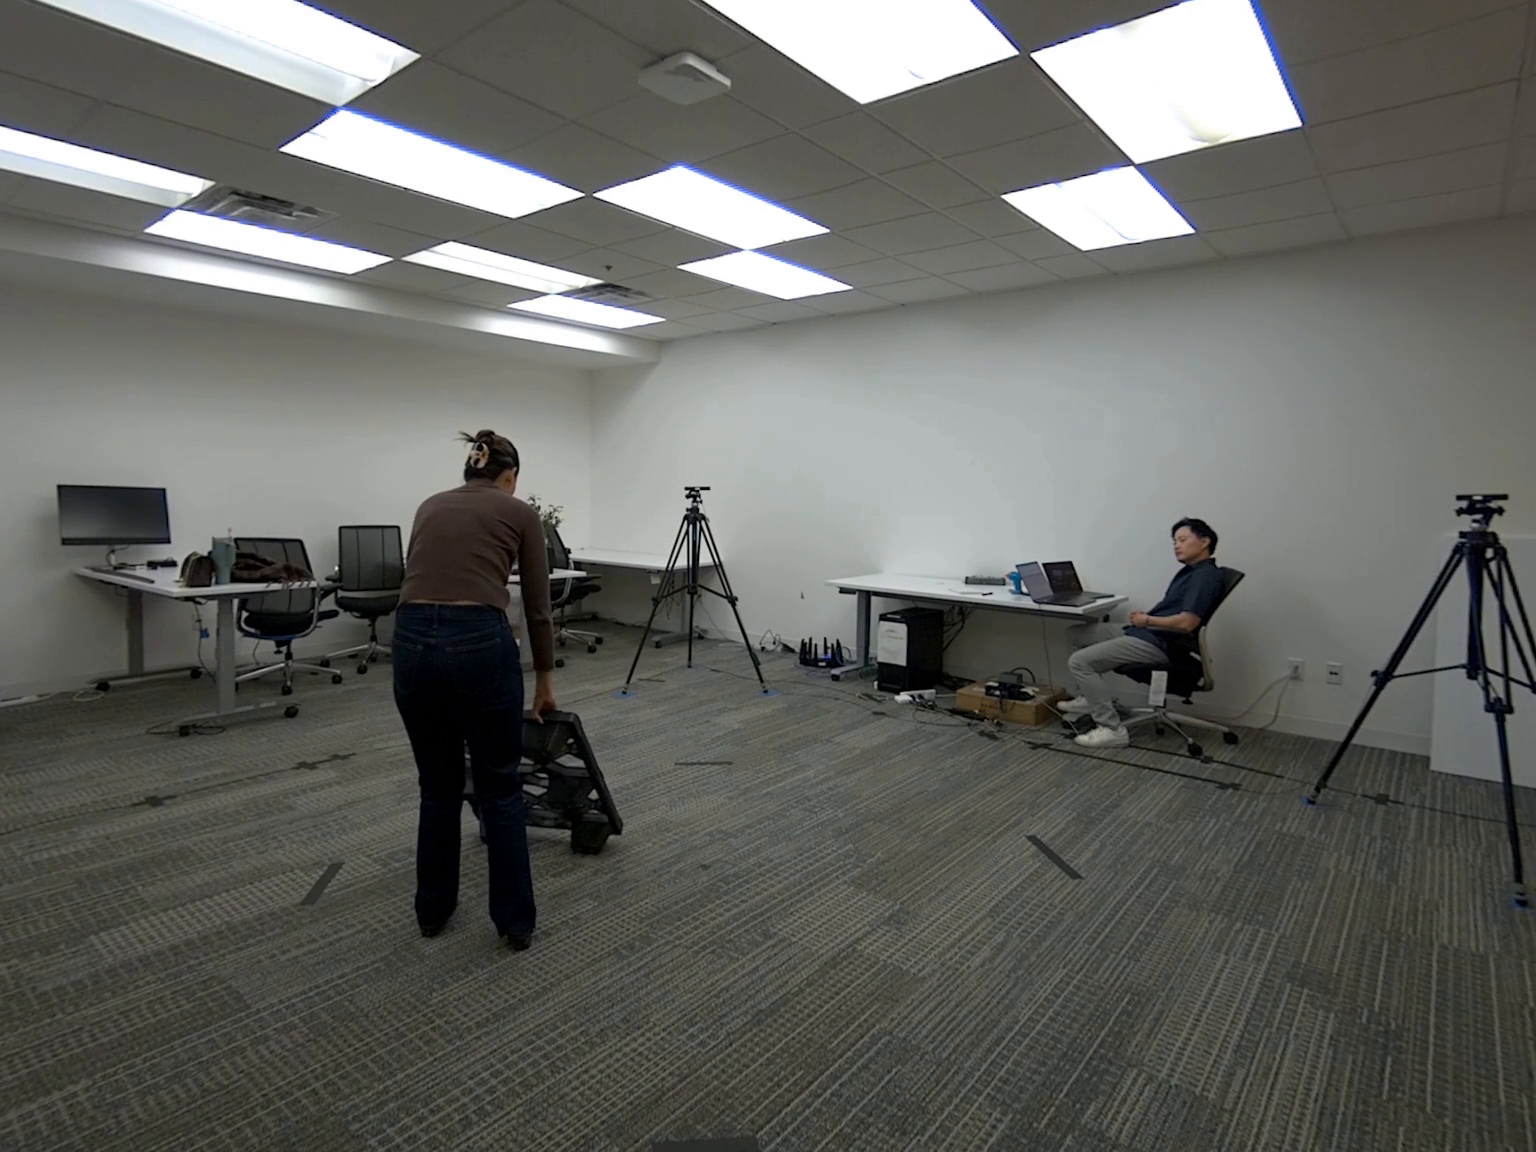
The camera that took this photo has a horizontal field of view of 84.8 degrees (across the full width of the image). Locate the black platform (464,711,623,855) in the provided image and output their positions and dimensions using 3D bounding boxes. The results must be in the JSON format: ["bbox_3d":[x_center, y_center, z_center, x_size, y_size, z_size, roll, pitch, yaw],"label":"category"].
[{"bbox_3d":[-0.908,0.737,3.050,0.613,0.779,0.146,3,45,11],"label":"black platform"}]
